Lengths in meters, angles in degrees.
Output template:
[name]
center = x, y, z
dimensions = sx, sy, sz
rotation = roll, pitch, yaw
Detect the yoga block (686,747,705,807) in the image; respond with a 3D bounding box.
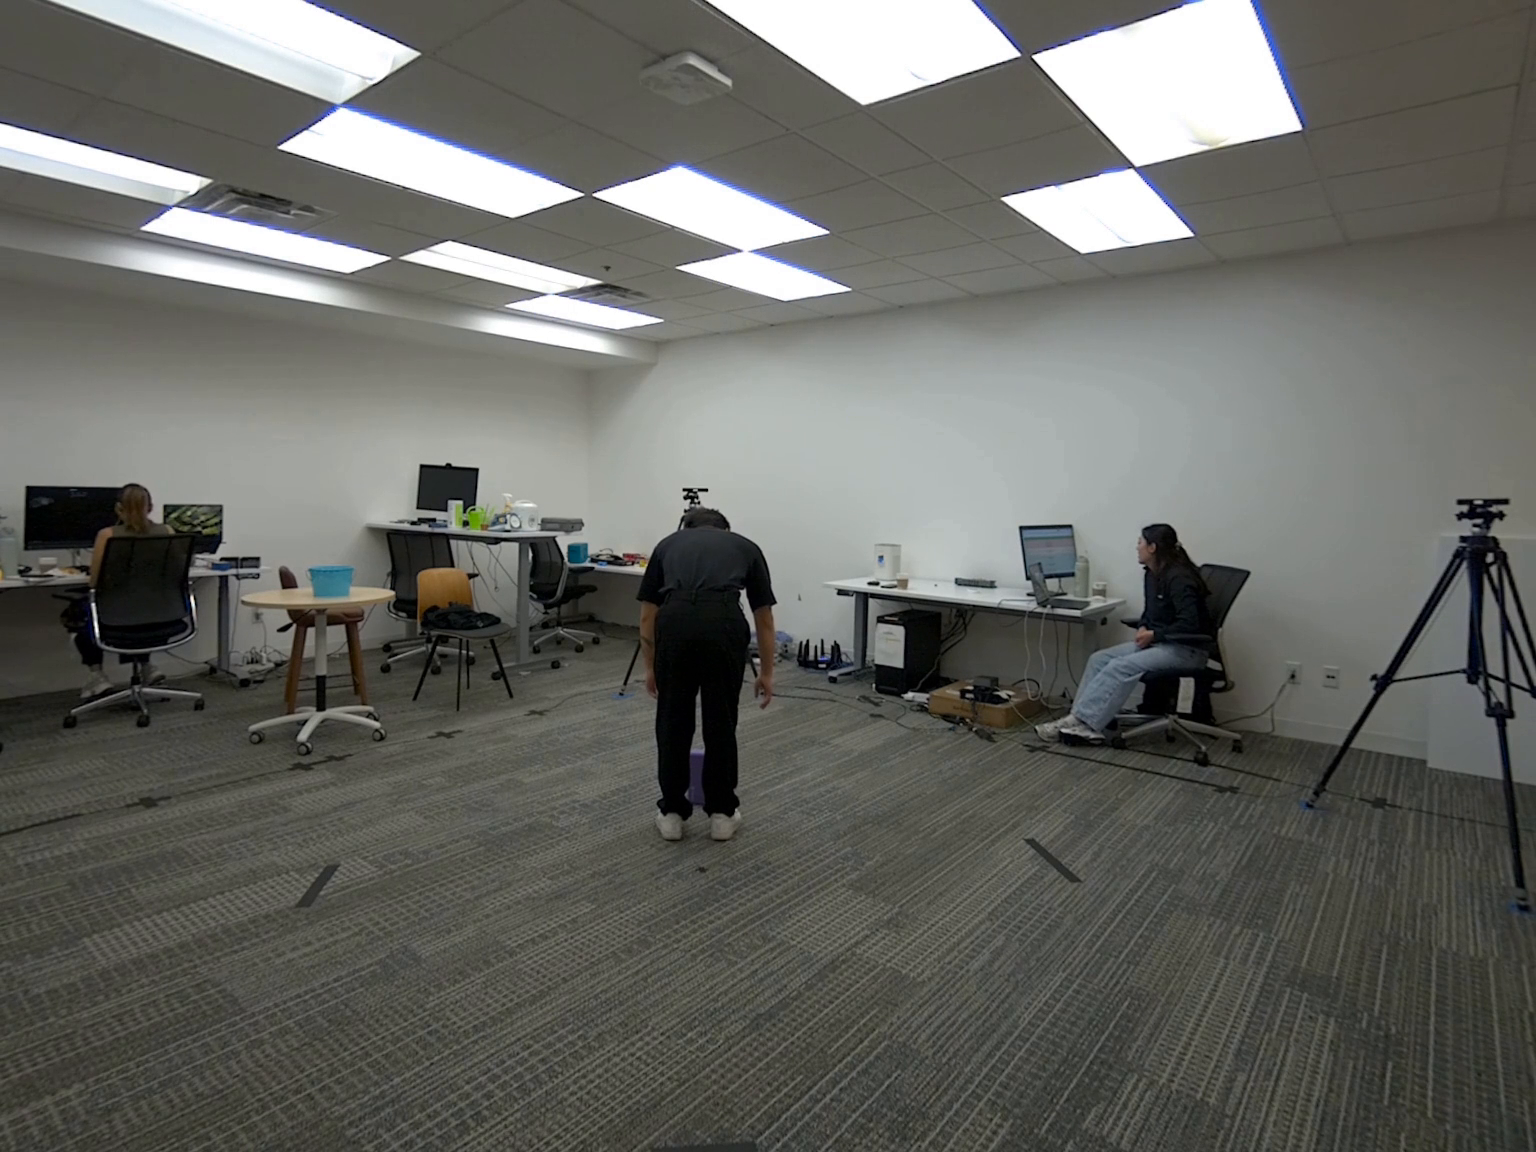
[yoga block]
center = -0.288, 0.887, 3.763
dimensions = 0.150, 0.229, 0.076
rotation = 1, 1, 6
